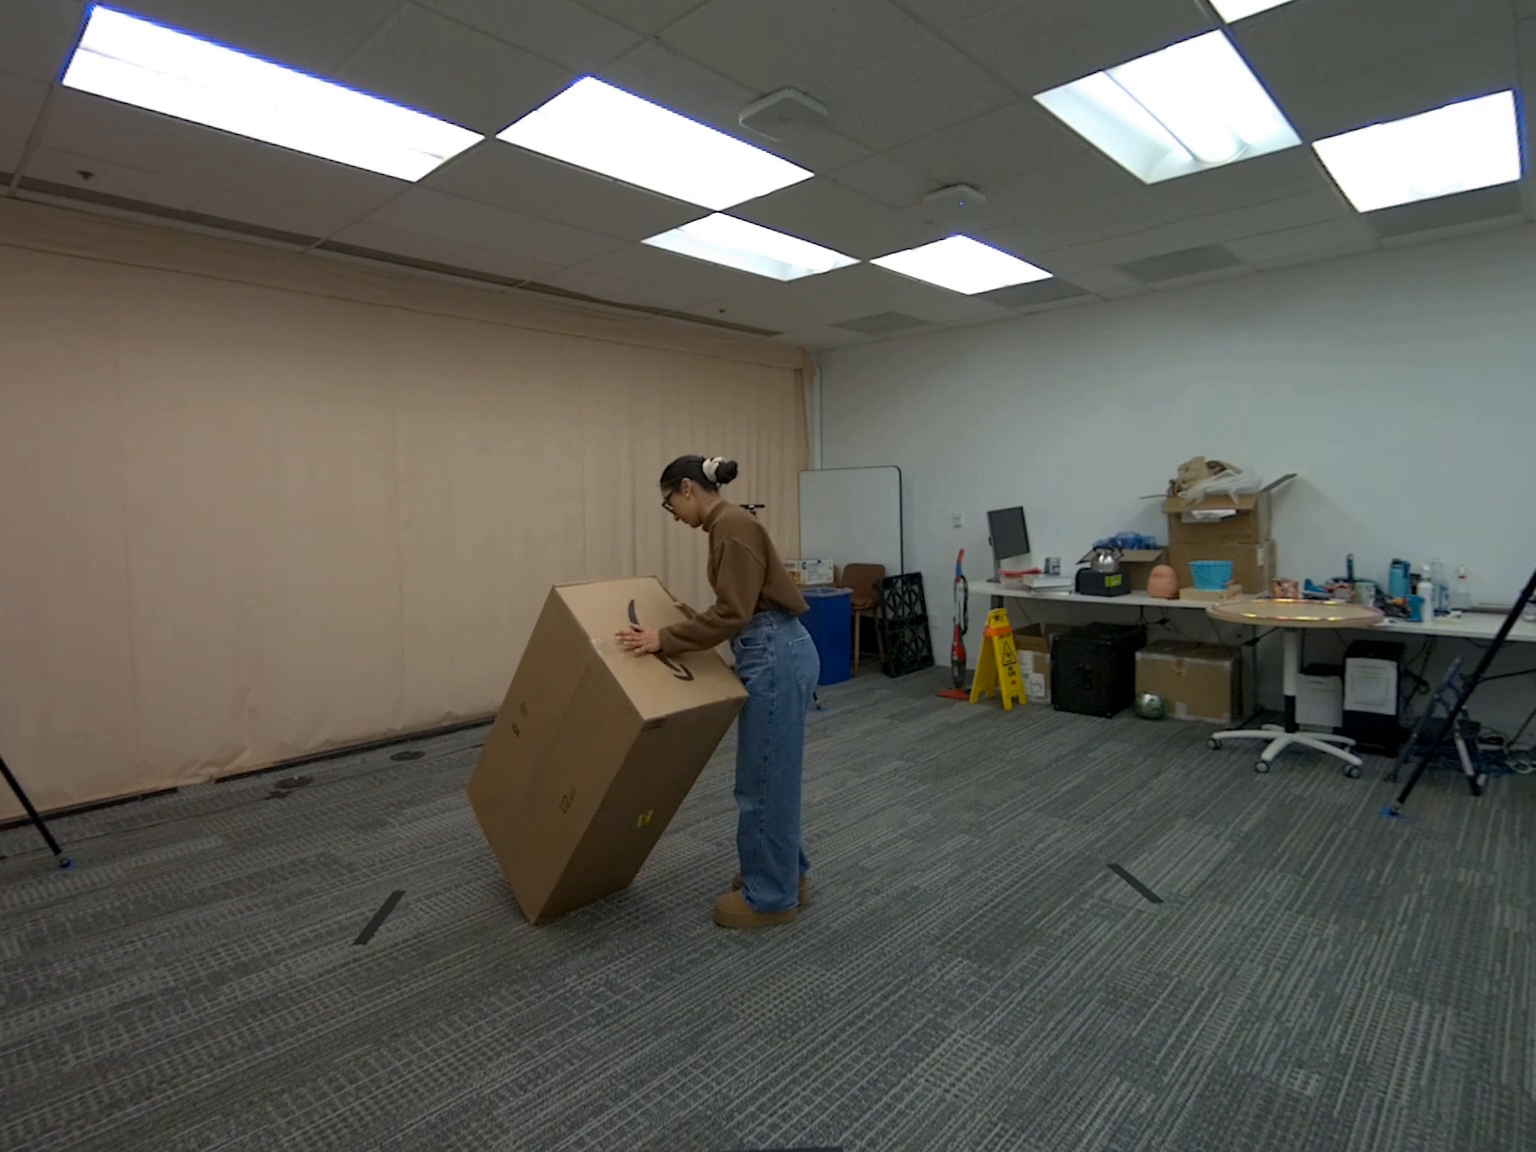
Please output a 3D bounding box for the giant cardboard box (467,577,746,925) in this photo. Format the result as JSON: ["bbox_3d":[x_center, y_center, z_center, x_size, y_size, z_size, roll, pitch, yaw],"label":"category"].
[{"bbox_3d":[-0.593,0.589,2.871,0.413,1.024,0.596,-4,43,-45],"label":"giant cardboard box"}]
